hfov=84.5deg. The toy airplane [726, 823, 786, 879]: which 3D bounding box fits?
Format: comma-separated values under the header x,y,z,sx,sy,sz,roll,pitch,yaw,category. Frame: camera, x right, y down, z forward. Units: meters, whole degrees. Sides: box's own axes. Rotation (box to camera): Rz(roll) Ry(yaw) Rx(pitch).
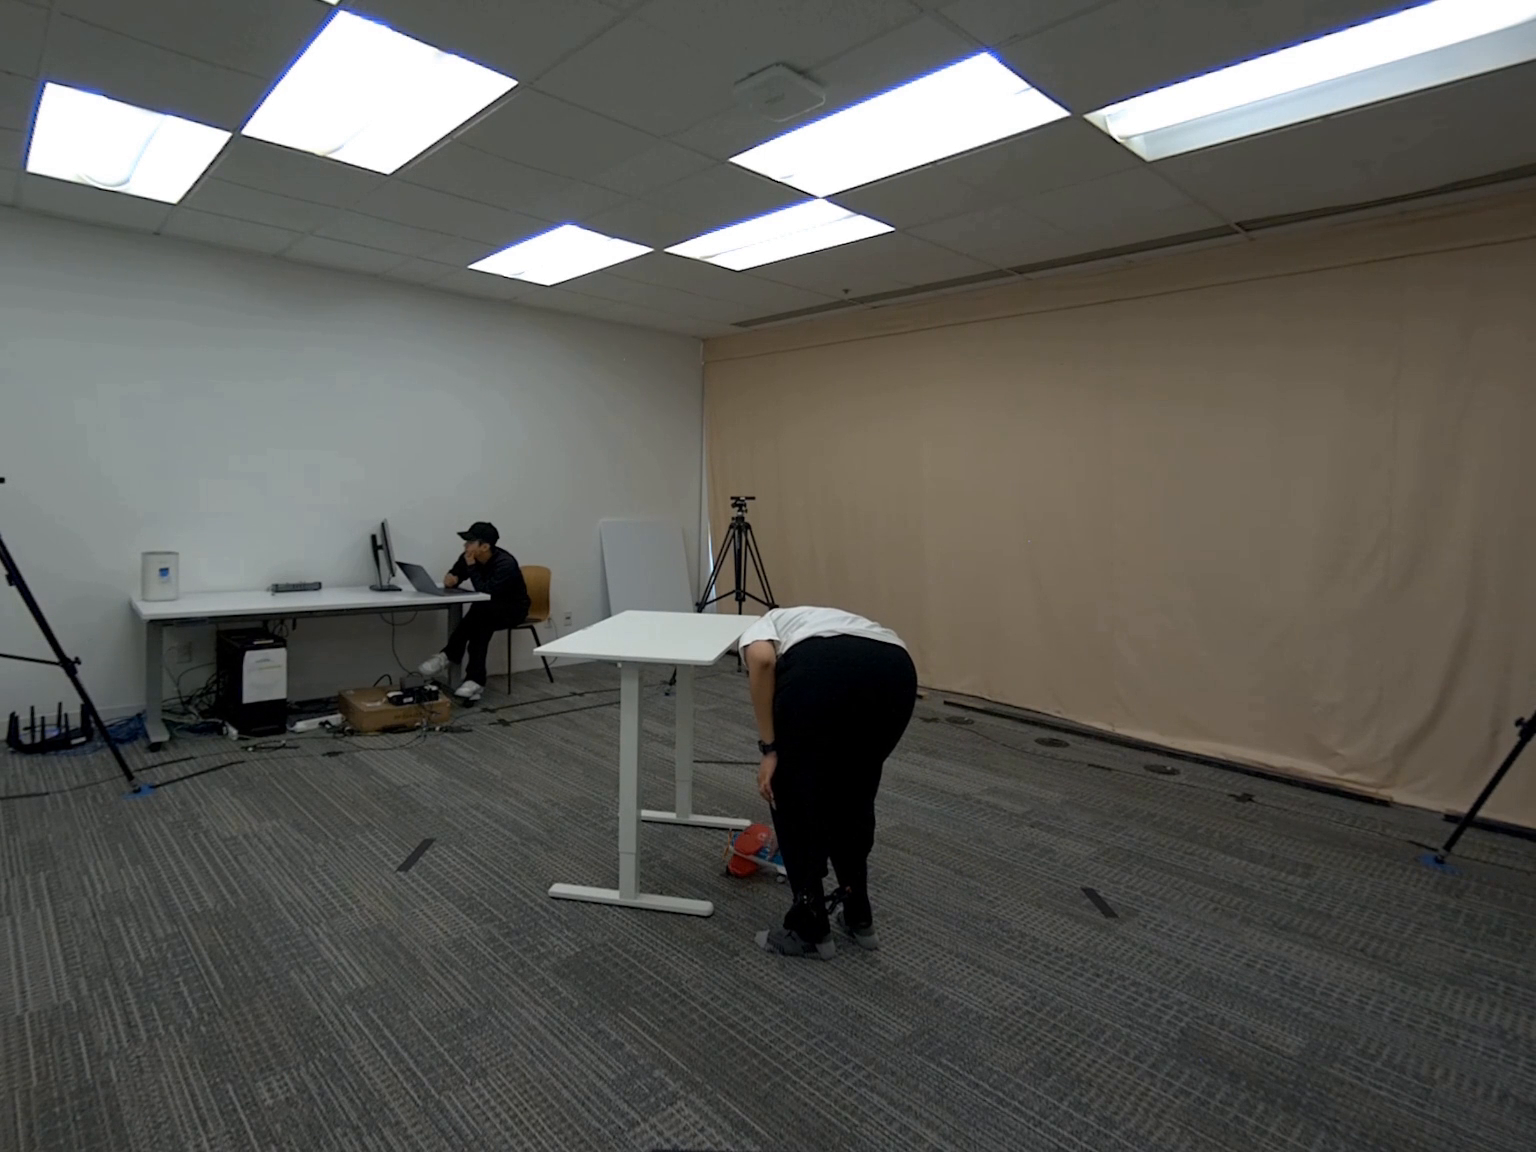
x,y,z,sx,sy,sz,roll,pitch,yaw,category
-0.032,1.030,3.117,0.257,0.156,0.254,1,7,-10,toy airplane
